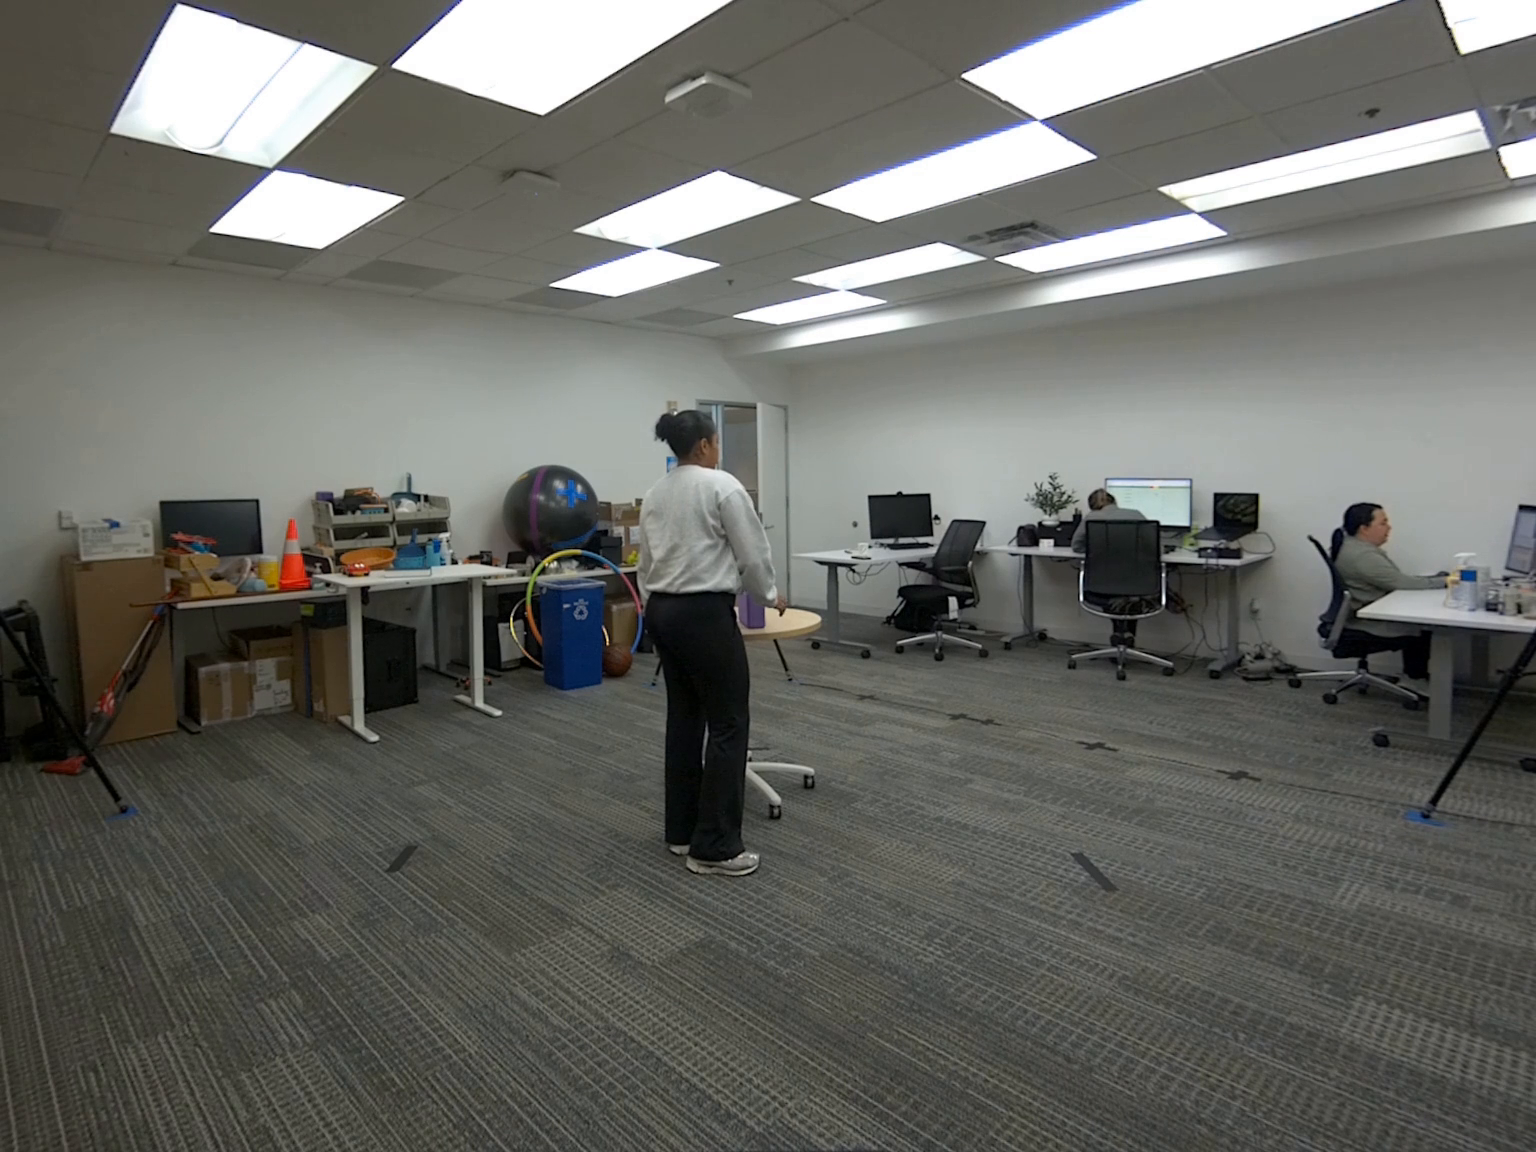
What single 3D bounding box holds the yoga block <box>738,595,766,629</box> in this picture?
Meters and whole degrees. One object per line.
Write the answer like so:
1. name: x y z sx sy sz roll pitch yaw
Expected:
1. yoga block: -0.066 0.133 3.613 0.076 0.148 0.232 -1 5 -9
